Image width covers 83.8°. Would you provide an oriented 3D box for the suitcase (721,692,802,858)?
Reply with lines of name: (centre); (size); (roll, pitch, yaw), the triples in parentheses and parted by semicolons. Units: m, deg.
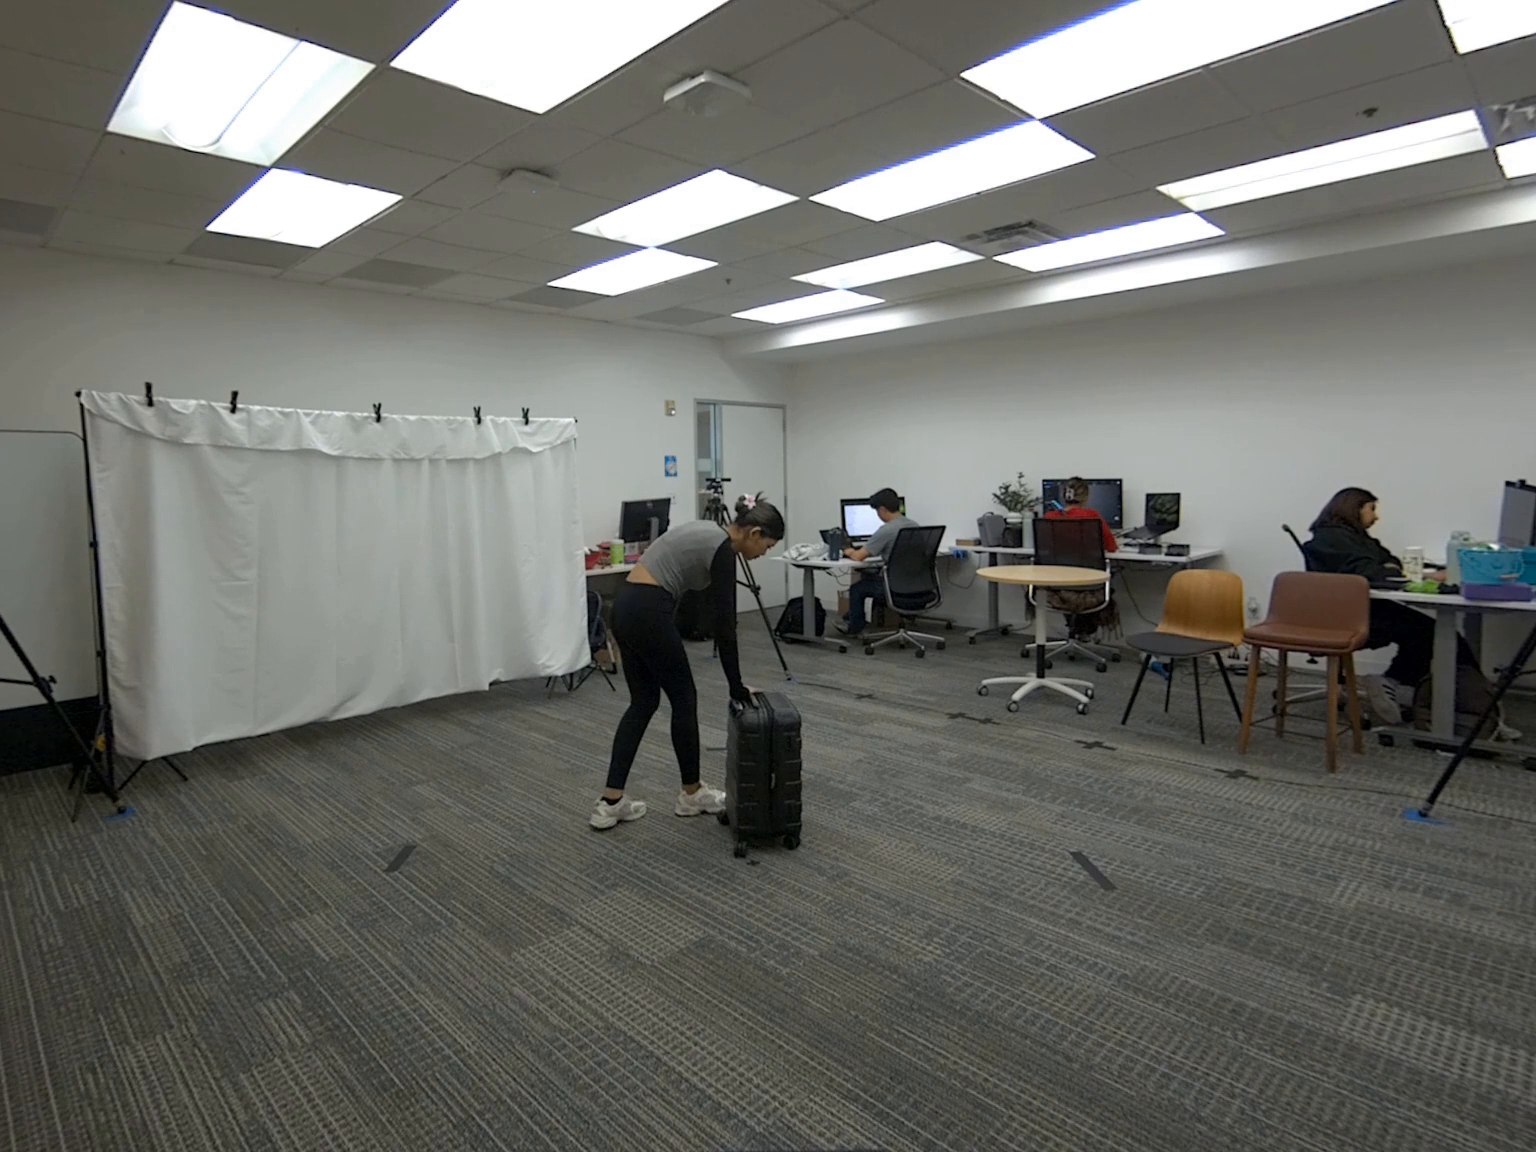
suitcase: (-0.012, 0.743, 3.327); (0.246, 0.548, 0.380); (1, 3, -9)
